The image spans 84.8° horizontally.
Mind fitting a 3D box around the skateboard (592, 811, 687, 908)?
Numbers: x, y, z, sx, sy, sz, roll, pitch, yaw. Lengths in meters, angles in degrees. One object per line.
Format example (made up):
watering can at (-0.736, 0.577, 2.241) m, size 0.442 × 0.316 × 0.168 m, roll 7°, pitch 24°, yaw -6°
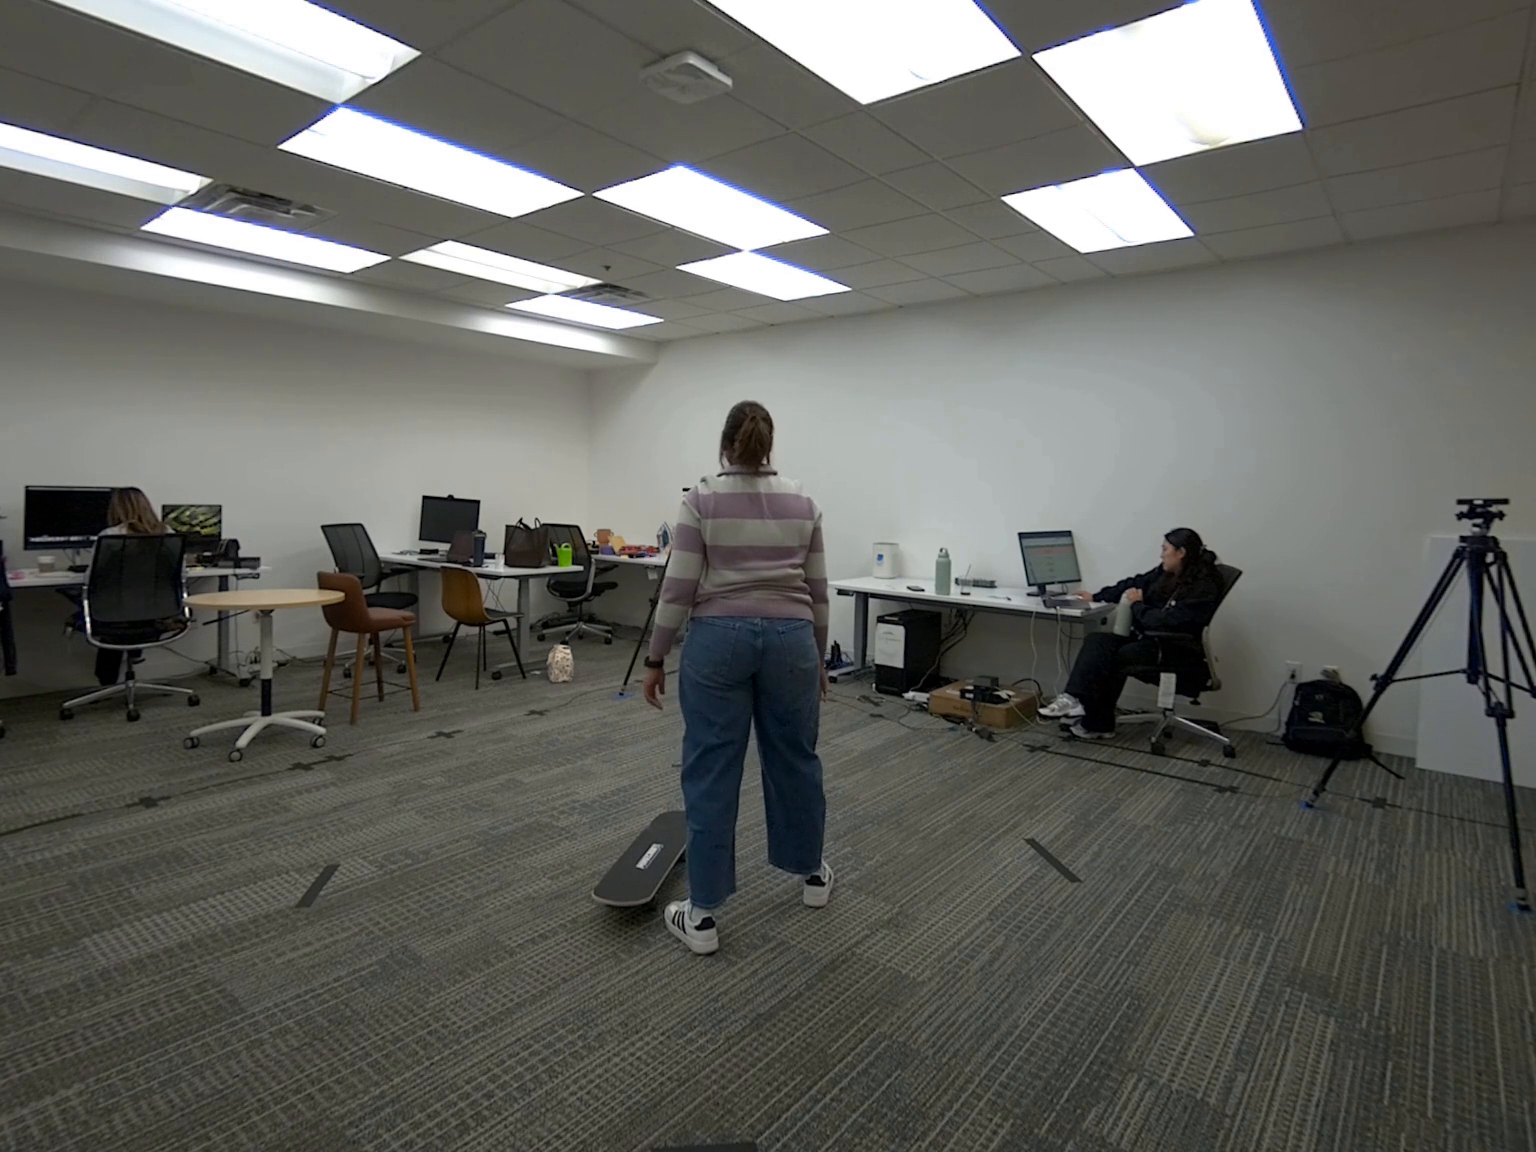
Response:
skateboard at (-0.431, 1.019, 3.010) m, size 0.196 × 0.110 × 0.778 m, roll 2°, pitch 5°, yaw 10°
